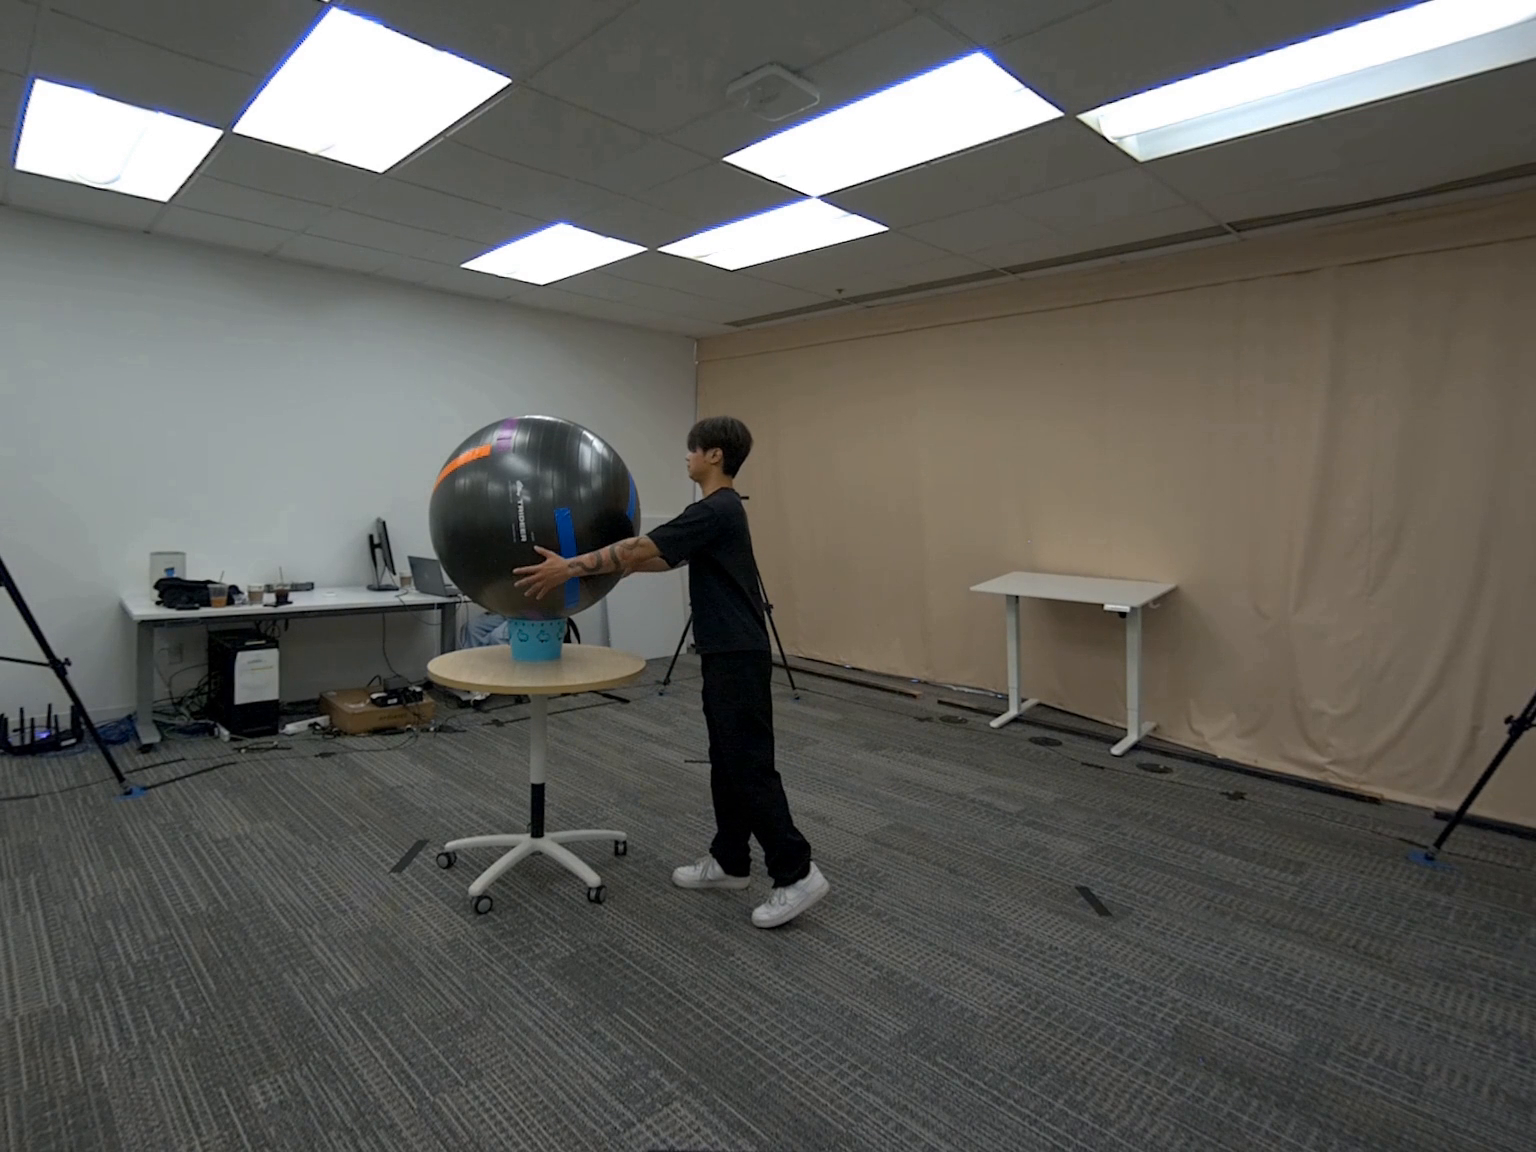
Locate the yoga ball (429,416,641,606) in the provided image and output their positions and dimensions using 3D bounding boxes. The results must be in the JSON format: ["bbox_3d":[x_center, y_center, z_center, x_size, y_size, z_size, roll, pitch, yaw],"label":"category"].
[{"bbox_3d":[-0.867,-0.211,3.114,0.757,0.756,0.761,1,4,-1],"label":"yoga ball"}]
